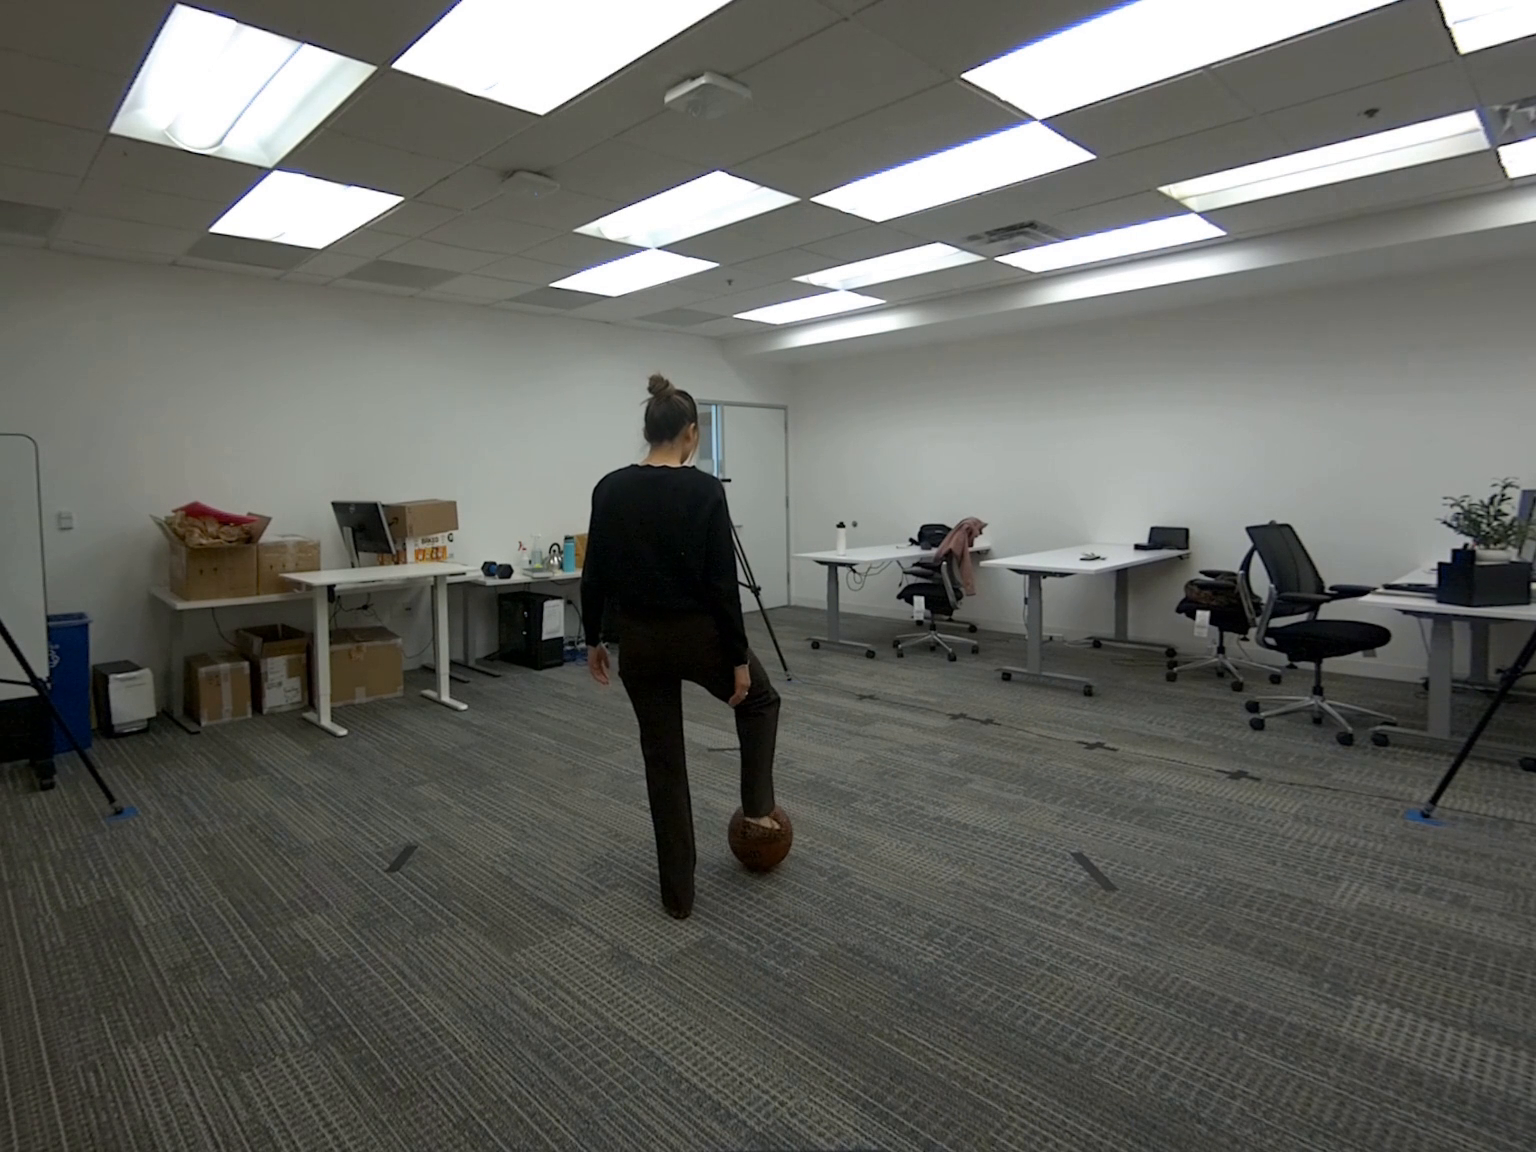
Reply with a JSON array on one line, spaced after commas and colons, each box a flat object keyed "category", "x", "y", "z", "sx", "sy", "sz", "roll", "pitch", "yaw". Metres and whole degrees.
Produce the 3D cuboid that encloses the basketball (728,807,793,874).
[{"category": "basketball", "x": -0.027, "y": 0.929, "z": 3.082, "sx": 0.236, "sy": 0.235, "sz": 0.237, "roll": -1, "pitch": 5, "yaw": -2}]
